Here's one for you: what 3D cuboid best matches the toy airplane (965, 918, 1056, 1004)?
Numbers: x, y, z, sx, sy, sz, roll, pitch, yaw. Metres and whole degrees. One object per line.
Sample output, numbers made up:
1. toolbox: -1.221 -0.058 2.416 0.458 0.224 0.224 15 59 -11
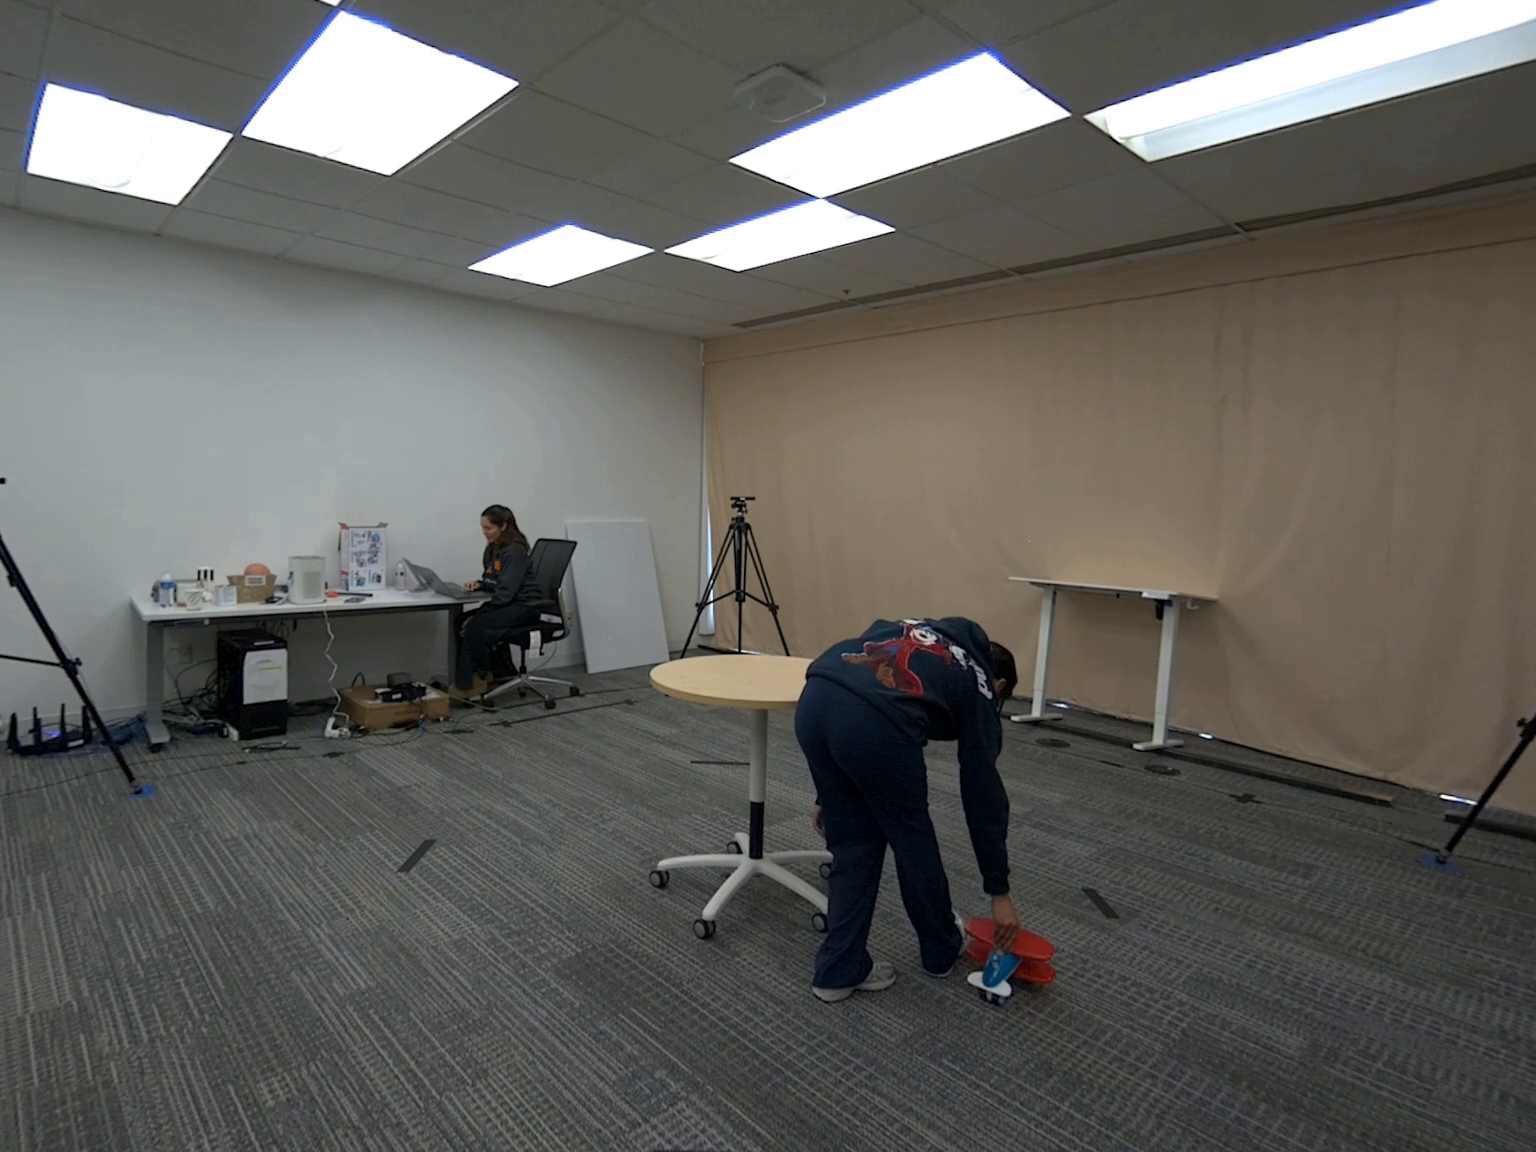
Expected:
1. toy airplane: 0.694 1.116 2.422 0.253 0.156 0.258 2 2 8
